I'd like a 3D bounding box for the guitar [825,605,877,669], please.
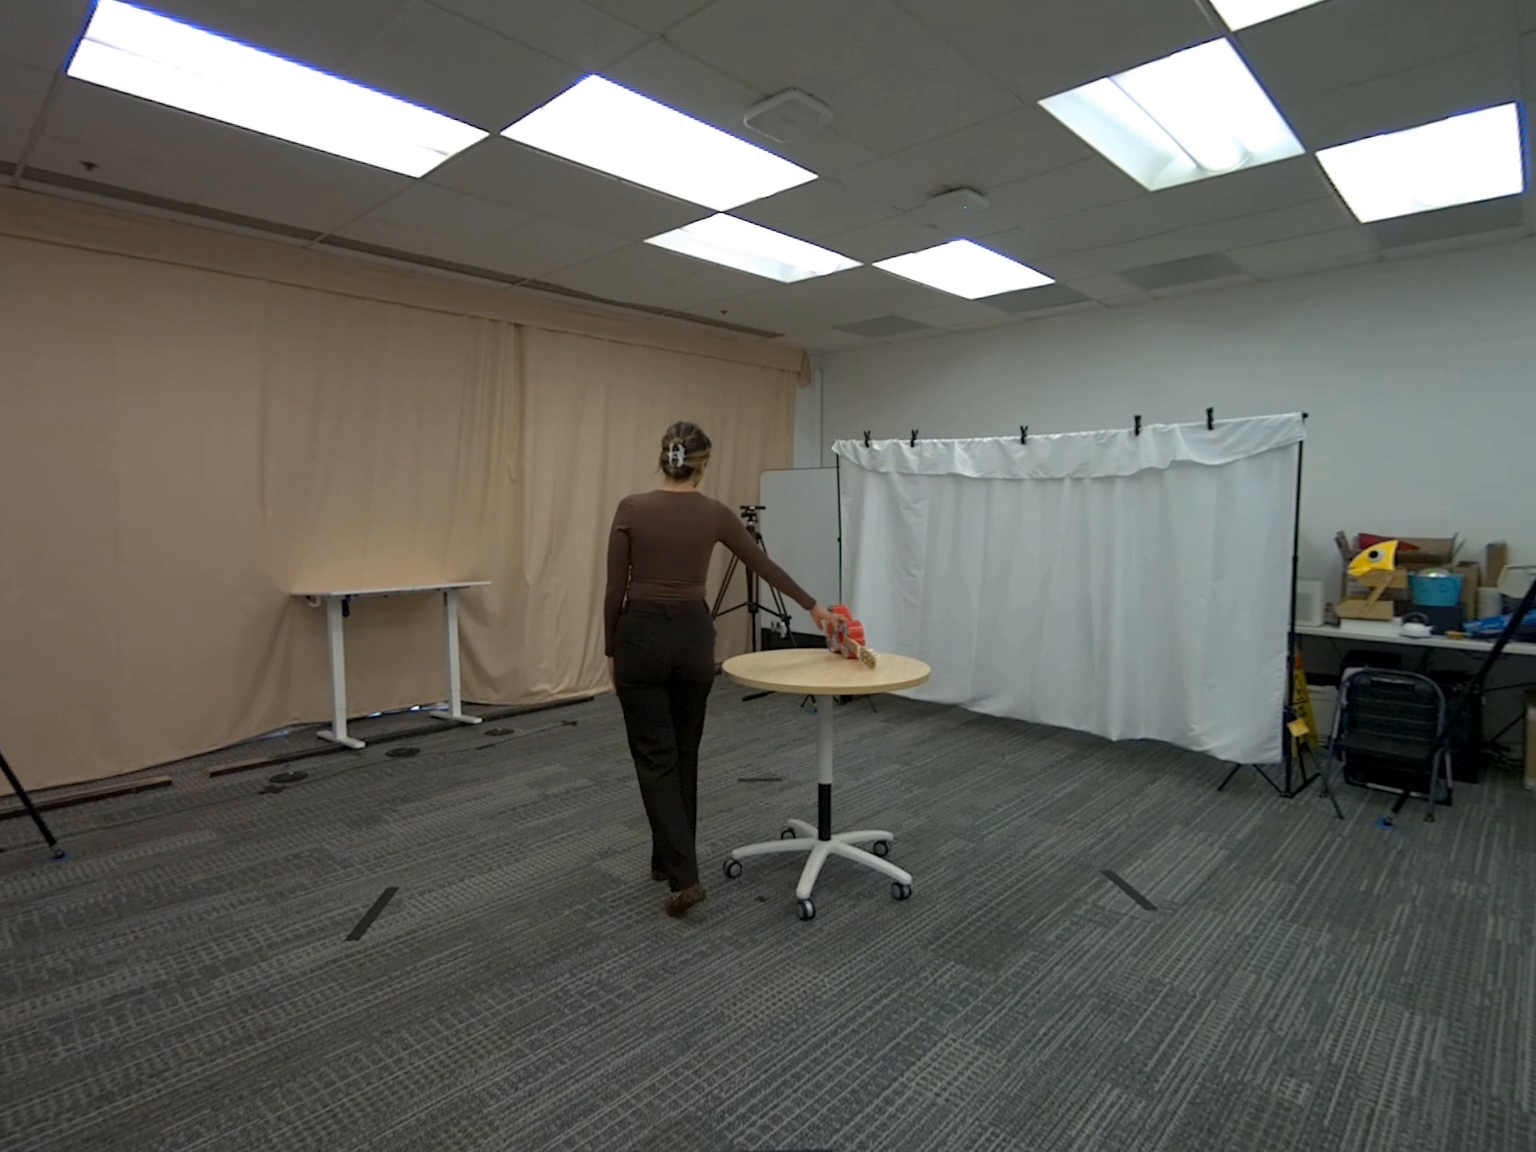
[{"bbox_3d":[0.329,0.281,3.252,0.070,0.191,0.510,-3,21,-15],"label":"guitar"}]
